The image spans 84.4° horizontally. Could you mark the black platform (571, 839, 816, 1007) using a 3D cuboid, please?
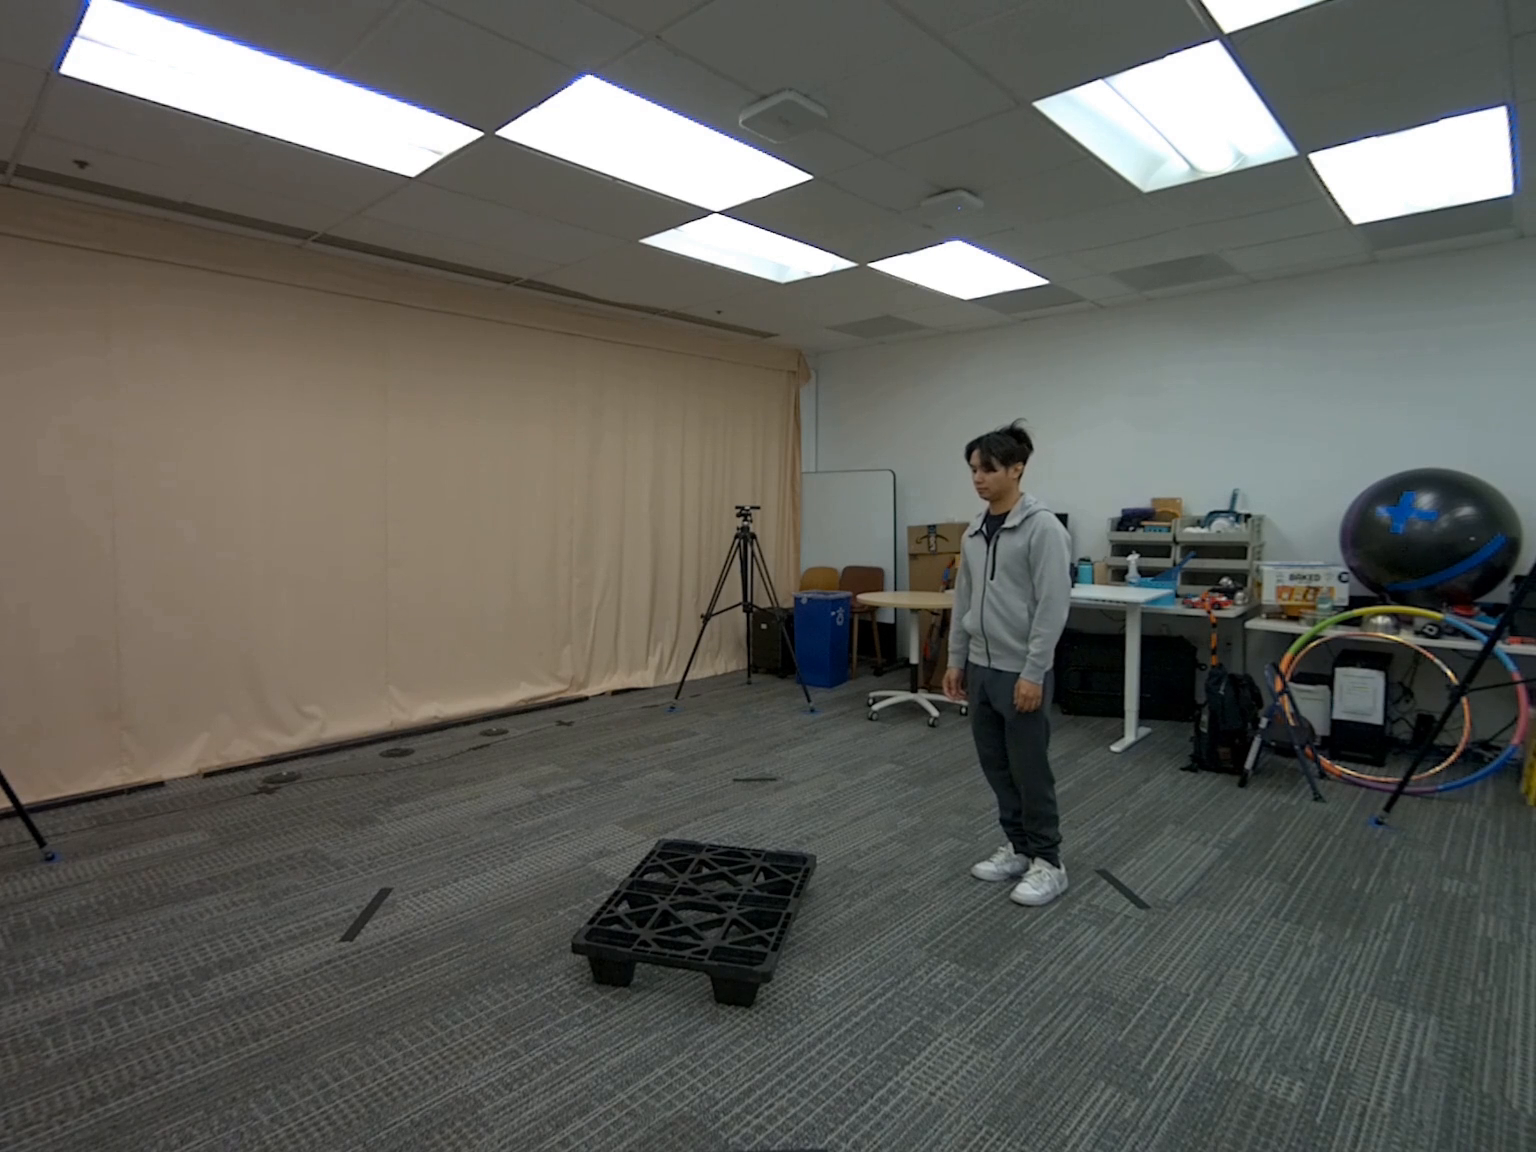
[{"bbox_3d":[-0.192,1.095,2.743,0.615,0.143,0.795,1,5,14],"label":"black platform"}]
